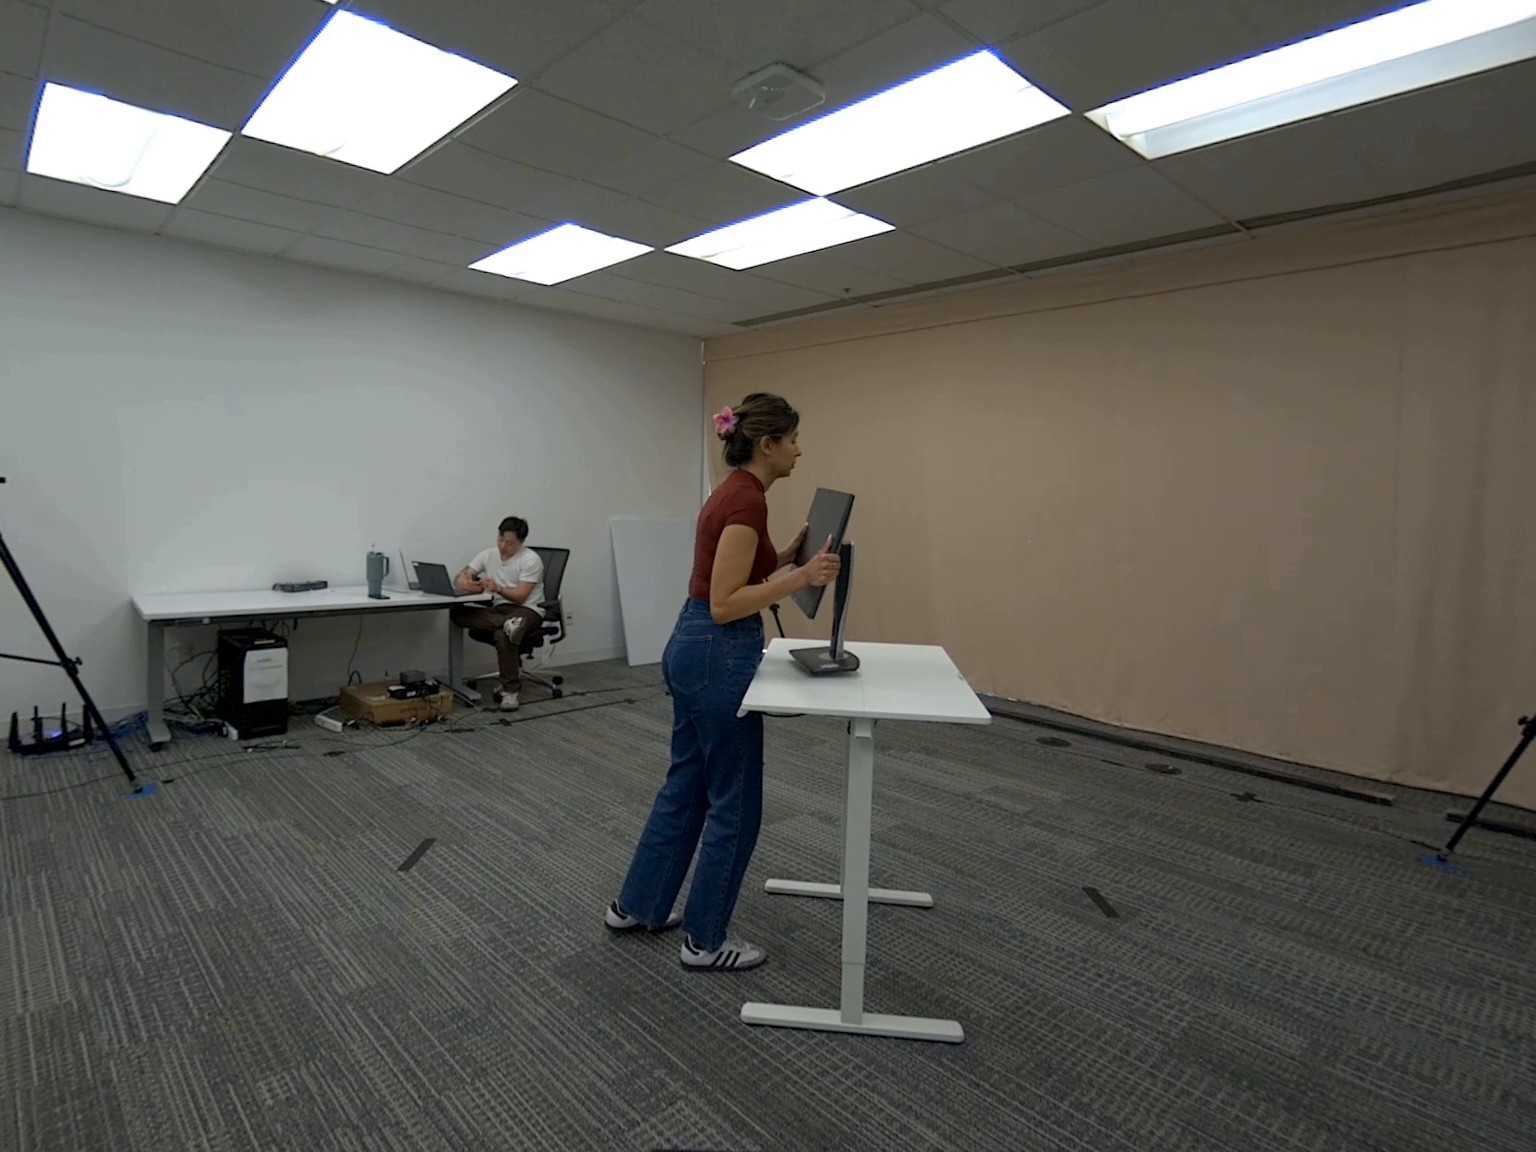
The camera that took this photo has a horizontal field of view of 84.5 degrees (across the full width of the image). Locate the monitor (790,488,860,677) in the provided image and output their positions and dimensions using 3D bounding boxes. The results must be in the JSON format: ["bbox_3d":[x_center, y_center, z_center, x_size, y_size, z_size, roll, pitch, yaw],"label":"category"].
[{"bbox_3d":[0.167,0.006,2.506,0.186,0.519,0.545,0,8,-7],"label":"monitor"}]
